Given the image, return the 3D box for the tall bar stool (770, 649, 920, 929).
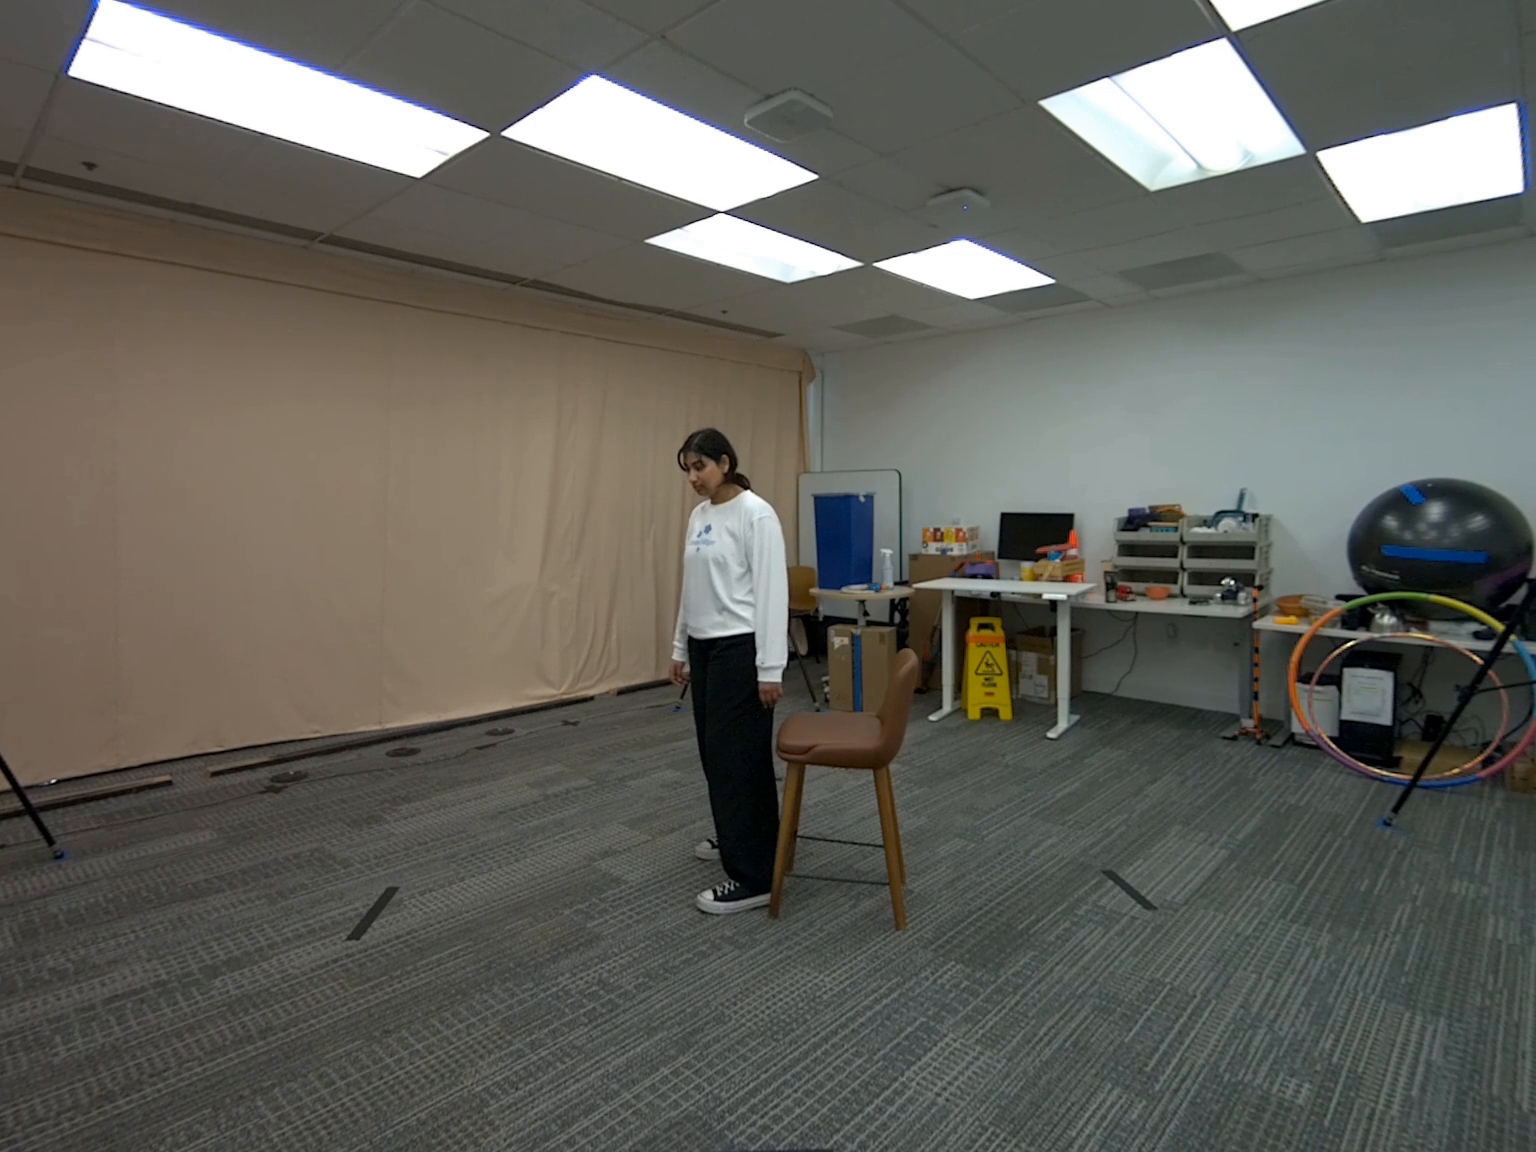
[{"bbox_3d":[0.270,0.708,2.961,0.474,0.888,0.451,2,4,12],"label":"tall bar stool"}]
